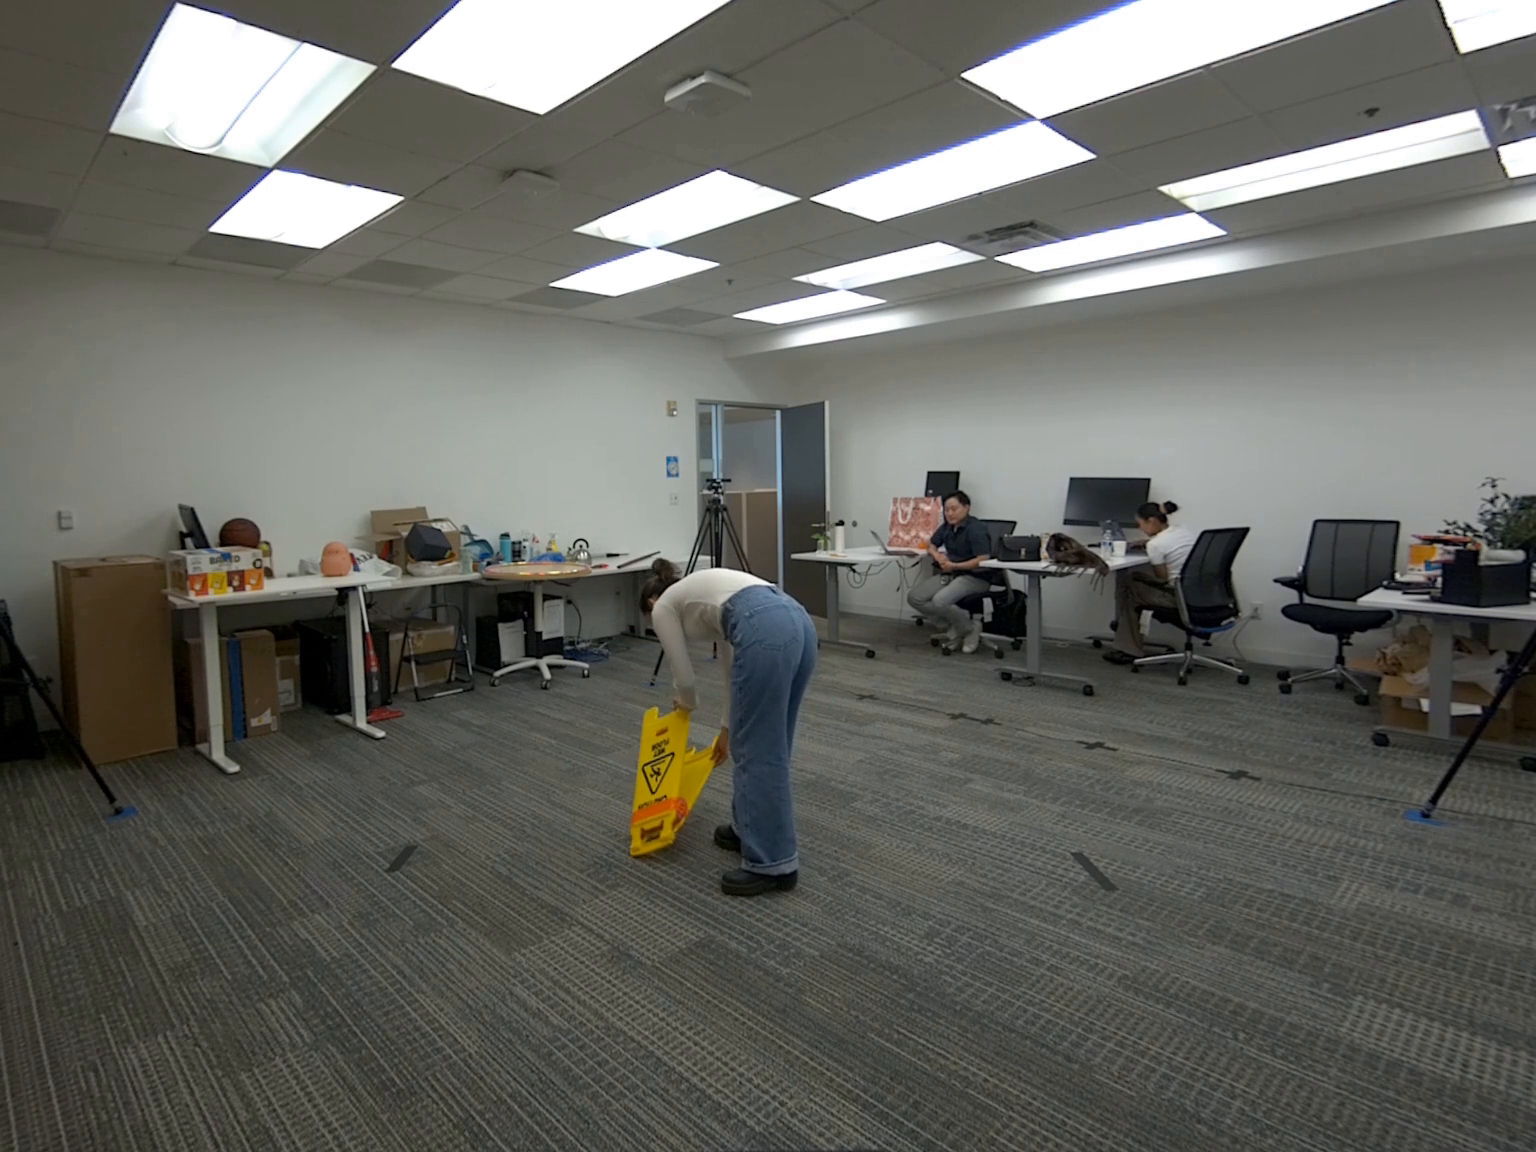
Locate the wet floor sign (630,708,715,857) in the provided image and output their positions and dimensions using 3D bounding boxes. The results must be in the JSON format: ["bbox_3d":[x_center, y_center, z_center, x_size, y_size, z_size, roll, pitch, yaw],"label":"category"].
[{"bbox_3d":[-0.389,0.815,3.387,0.285,0.282,0.656,-29,25,27],"label":"wet floor sign"}]
